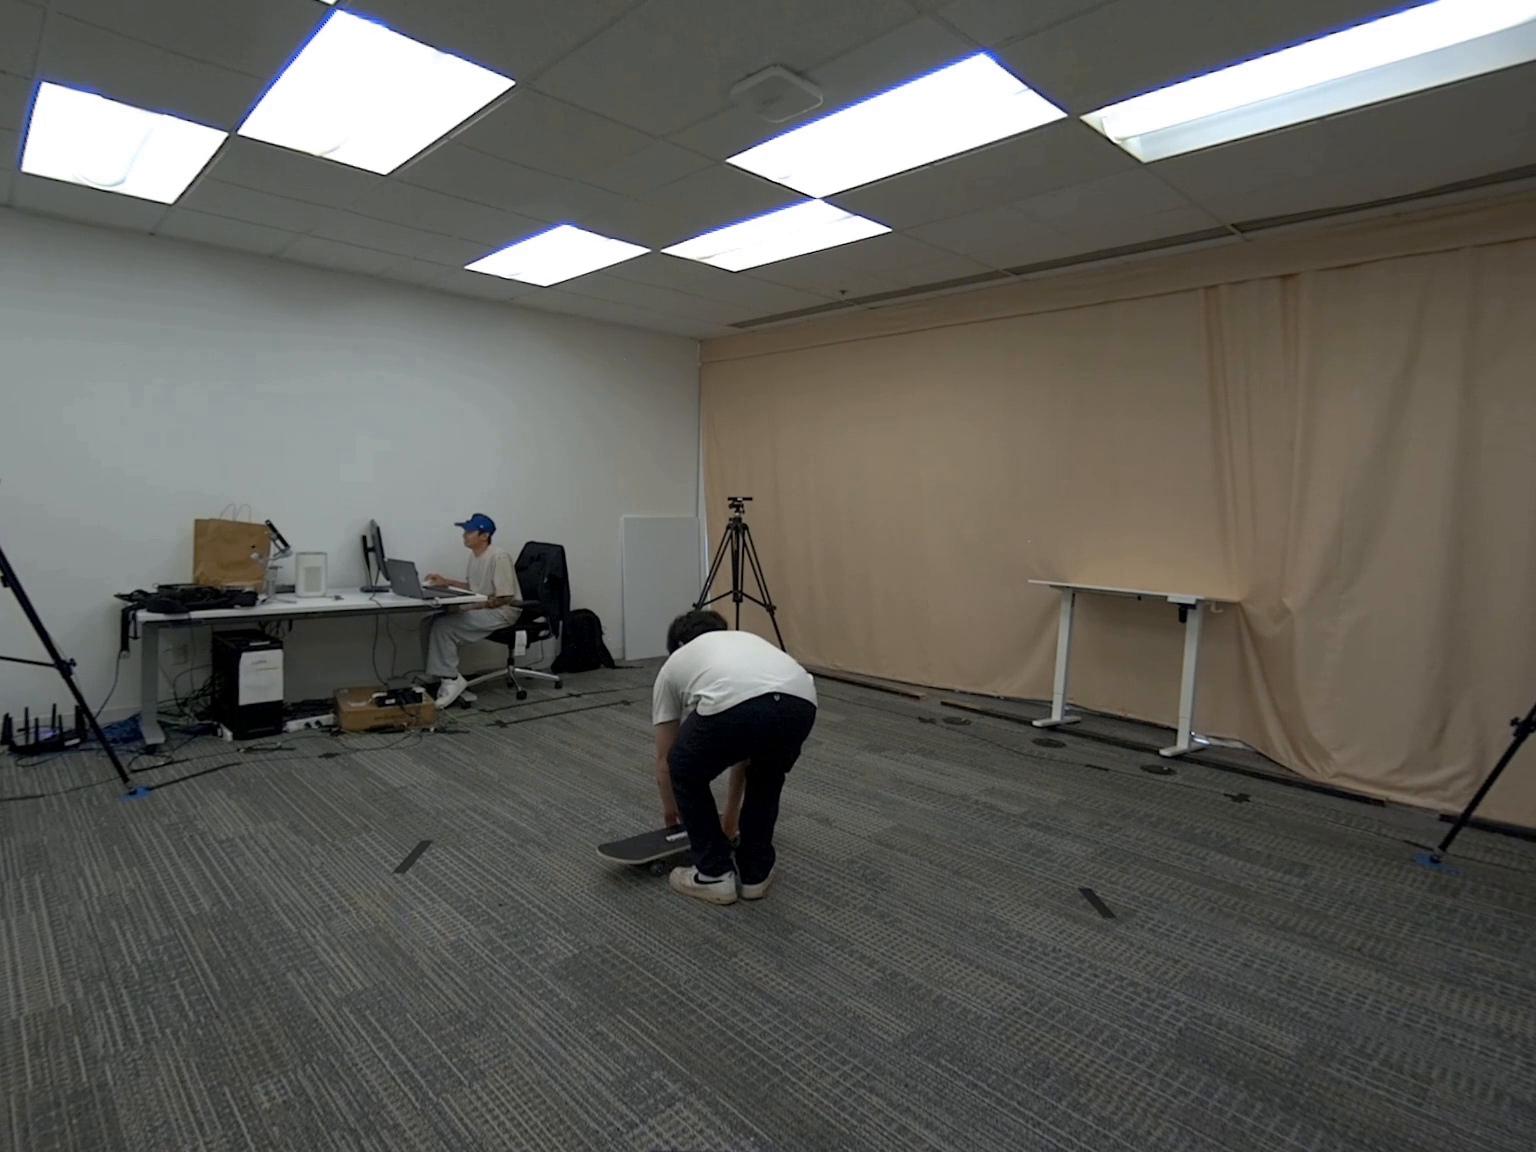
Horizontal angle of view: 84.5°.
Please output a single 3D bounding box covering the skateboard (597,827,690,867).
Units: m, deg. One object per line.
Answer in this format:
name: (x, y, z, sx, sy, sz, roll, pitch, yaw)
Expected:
skateboard: (-0.313, 1.026, 3.263, 0.767, 0.110, 0.198, -2, 5, -41)
